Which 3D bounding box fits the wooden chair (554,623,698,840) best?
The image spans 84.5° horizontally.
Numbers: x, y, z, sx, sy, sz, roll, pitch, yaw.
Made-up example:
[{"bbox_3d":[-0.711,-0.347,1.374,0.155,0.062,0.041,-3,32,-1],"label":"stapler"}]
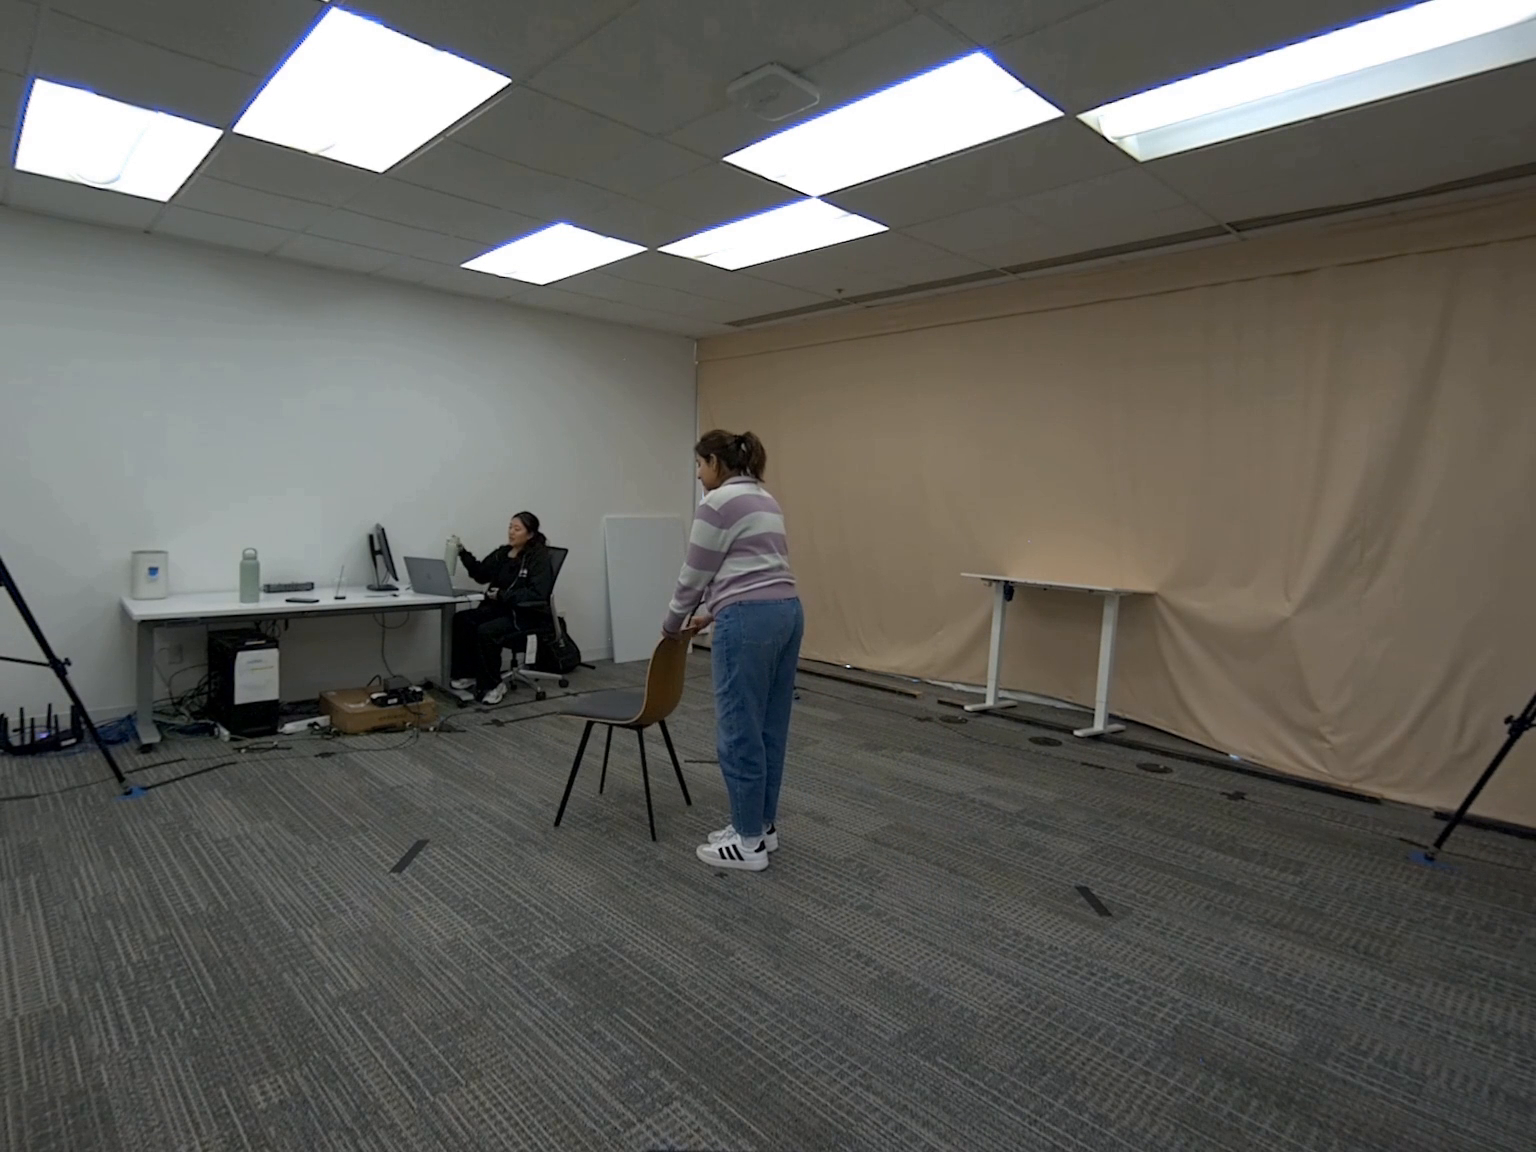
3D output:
[{"bbox_3d":[-0.620,0.621,3.630,0.530,0.874,0.473,6,5,15],"label":"wooden chair"}]
